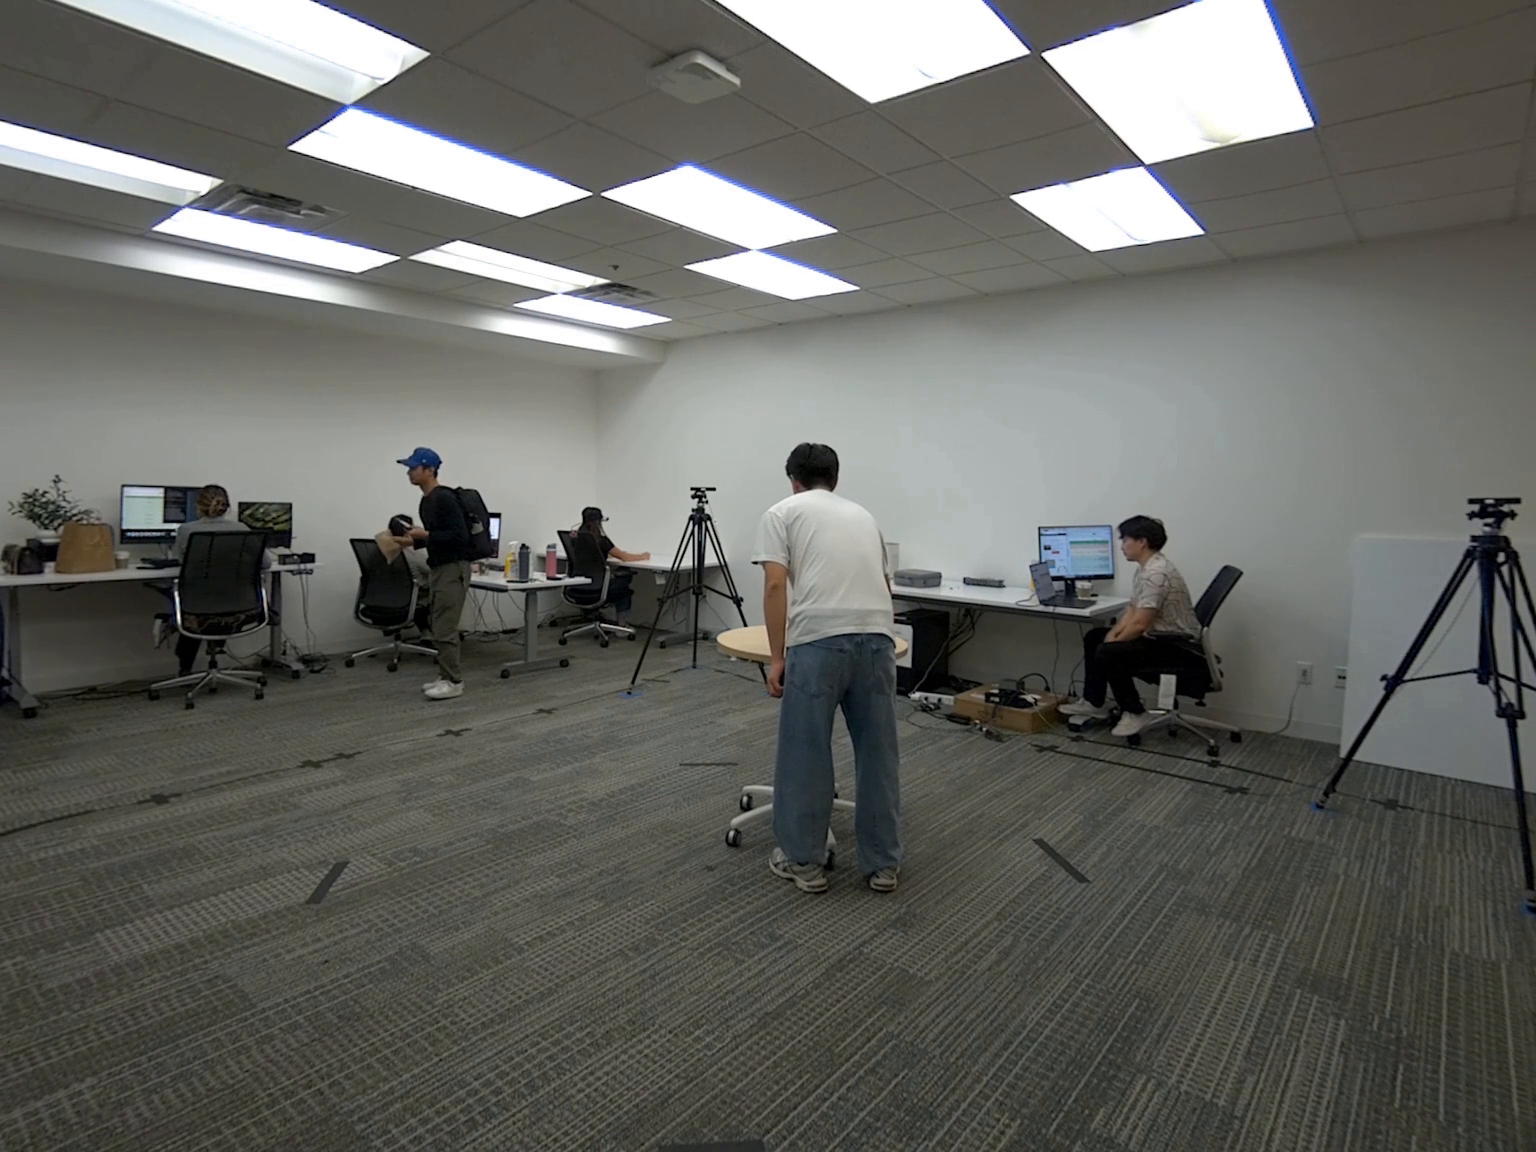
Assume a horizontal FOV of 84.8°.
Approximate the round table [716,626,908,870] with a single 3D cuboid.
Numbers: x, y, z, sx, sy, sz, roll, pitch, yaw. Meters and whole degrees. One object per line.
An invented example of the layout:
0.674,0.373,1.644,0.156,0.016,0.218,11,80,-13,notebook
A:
0.148,0.646,3.465,0.763,0.791,0.768,1,4,-2,round table
